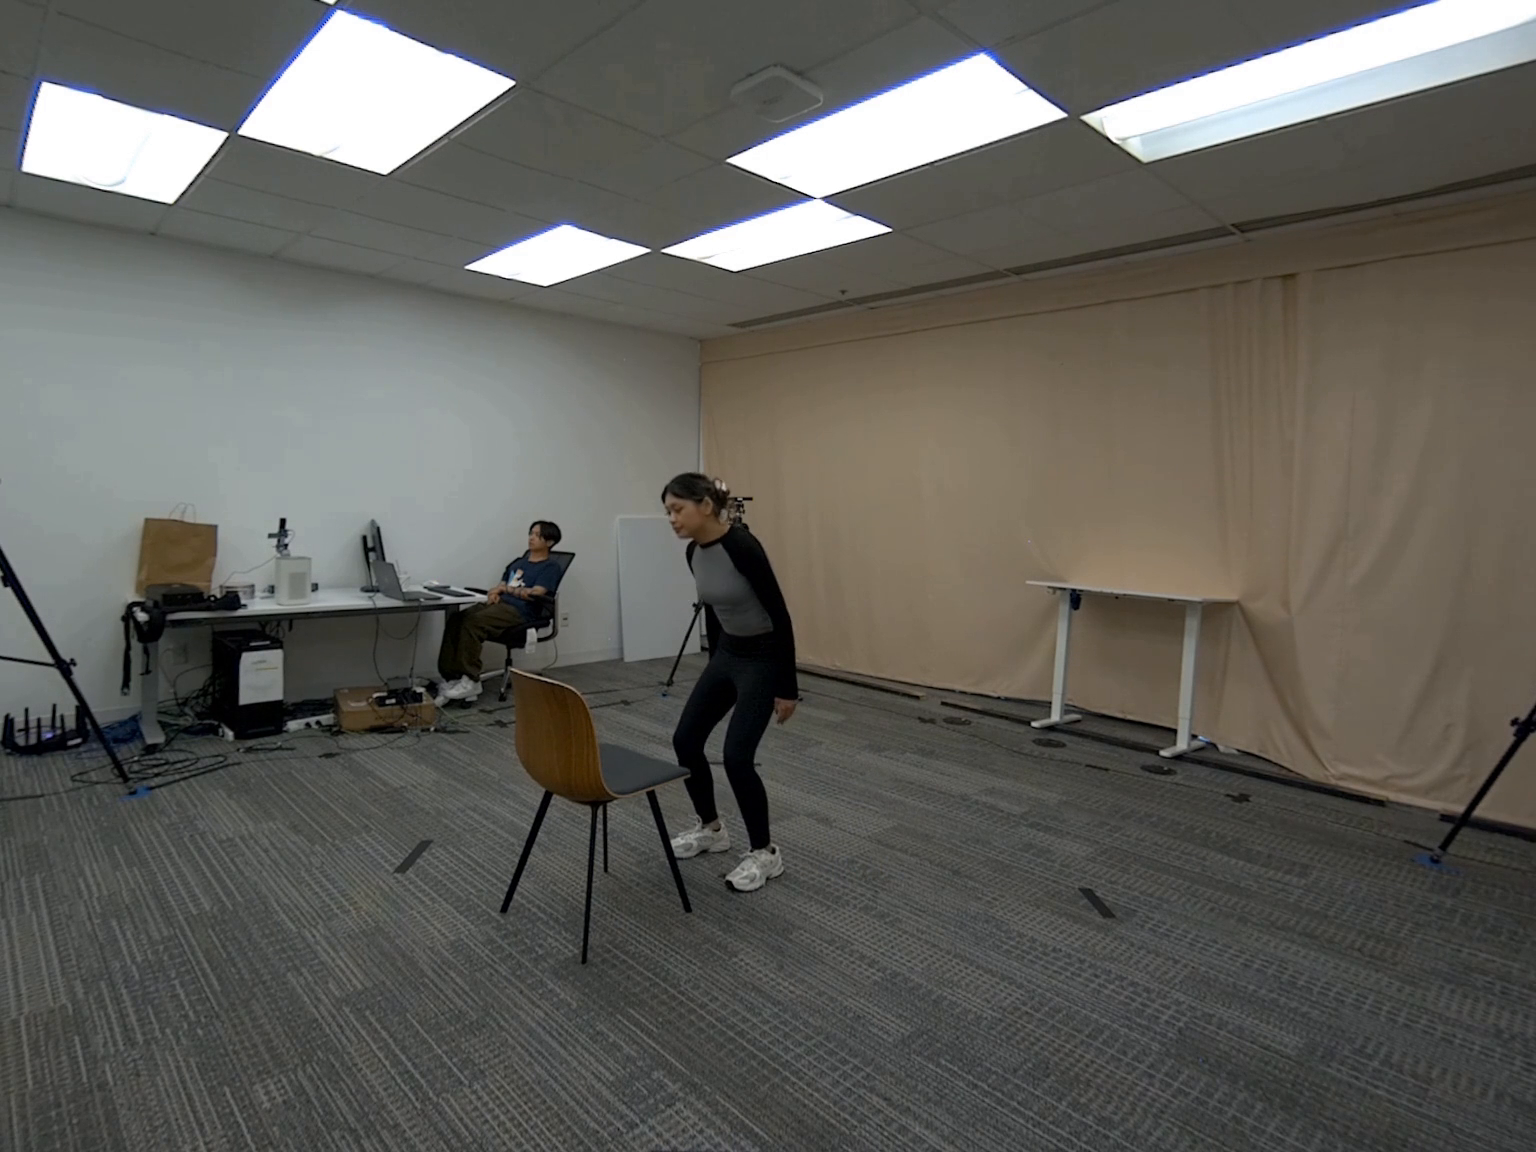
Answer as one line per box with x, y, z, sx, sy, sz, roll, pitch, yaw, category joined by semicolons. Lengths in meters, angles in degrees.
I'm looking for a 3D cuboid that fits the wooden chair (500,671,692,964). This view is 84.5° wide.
-0.561;0.699;2.783;0.490;0.873;0.513;4;9;41;wooden chair
